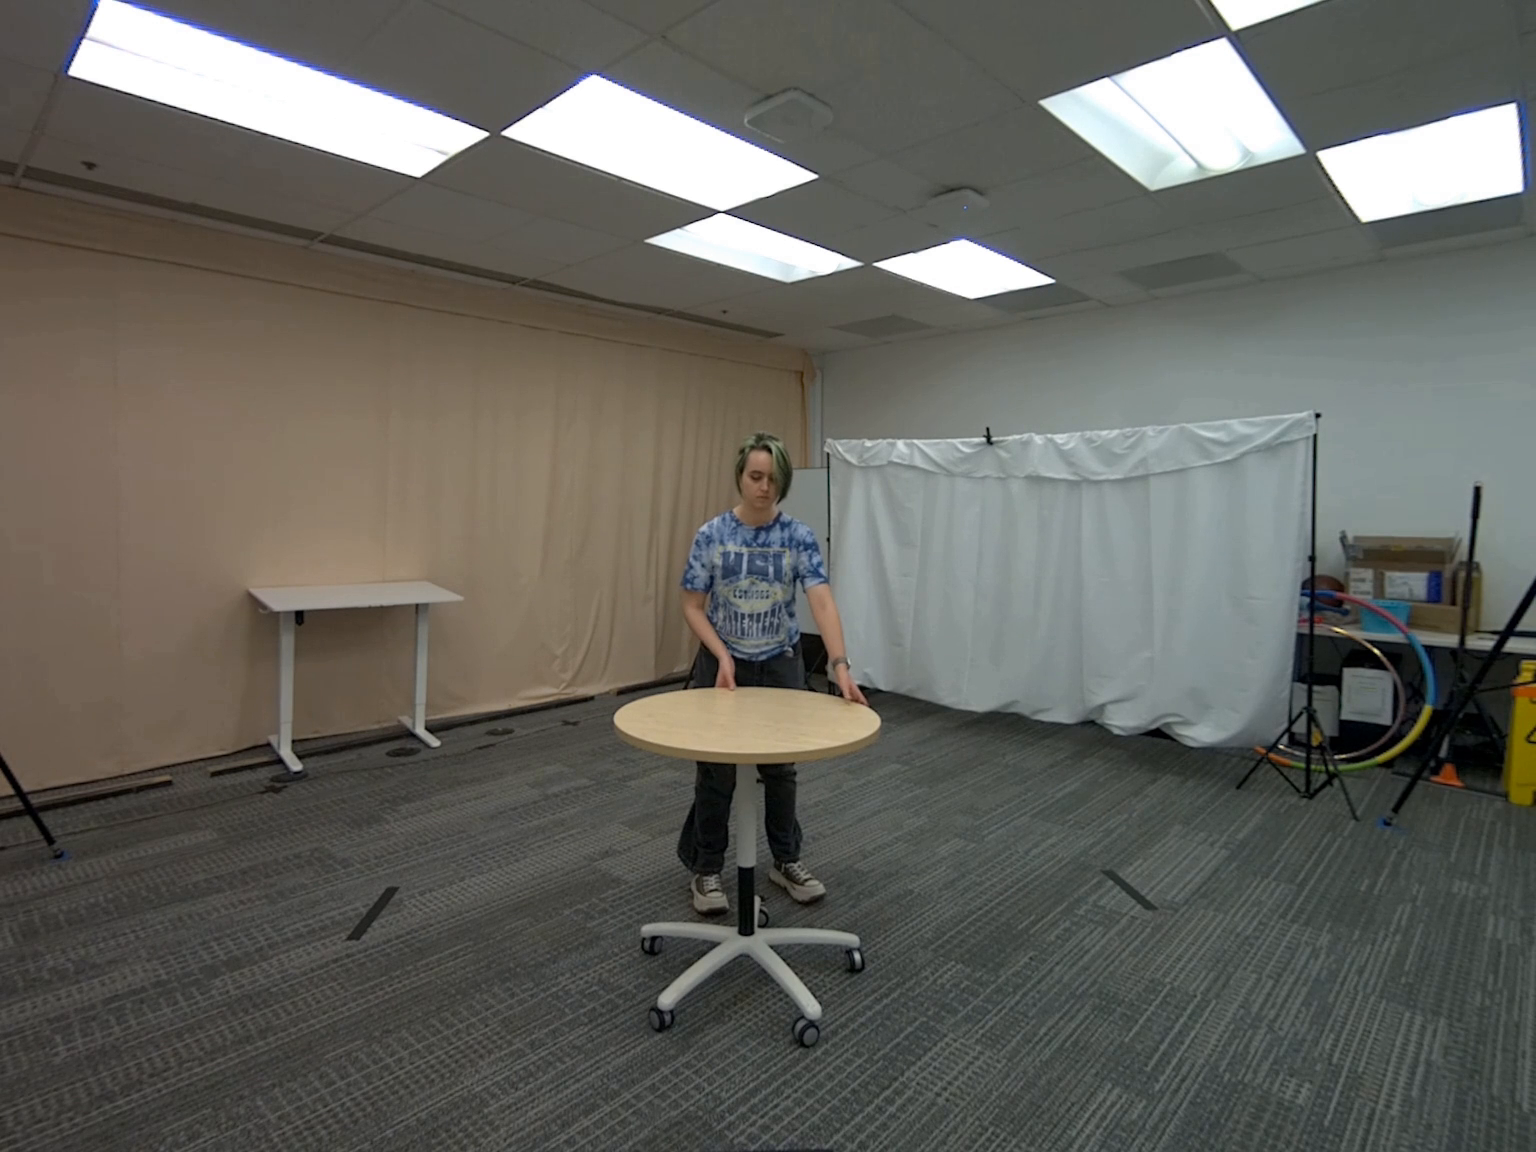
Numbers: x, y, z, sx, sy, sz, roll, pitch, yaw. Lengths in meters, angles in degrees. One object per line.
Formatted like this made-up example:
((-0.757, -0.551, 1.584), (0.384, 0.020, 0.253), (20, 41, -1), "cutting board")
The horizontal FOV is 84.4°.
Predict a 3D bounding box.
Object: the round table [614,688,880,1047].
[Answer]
((-0.064, 0.798, 2.463), (0.763, 0.792, 0.766), (0, 4, -2), "round table")
